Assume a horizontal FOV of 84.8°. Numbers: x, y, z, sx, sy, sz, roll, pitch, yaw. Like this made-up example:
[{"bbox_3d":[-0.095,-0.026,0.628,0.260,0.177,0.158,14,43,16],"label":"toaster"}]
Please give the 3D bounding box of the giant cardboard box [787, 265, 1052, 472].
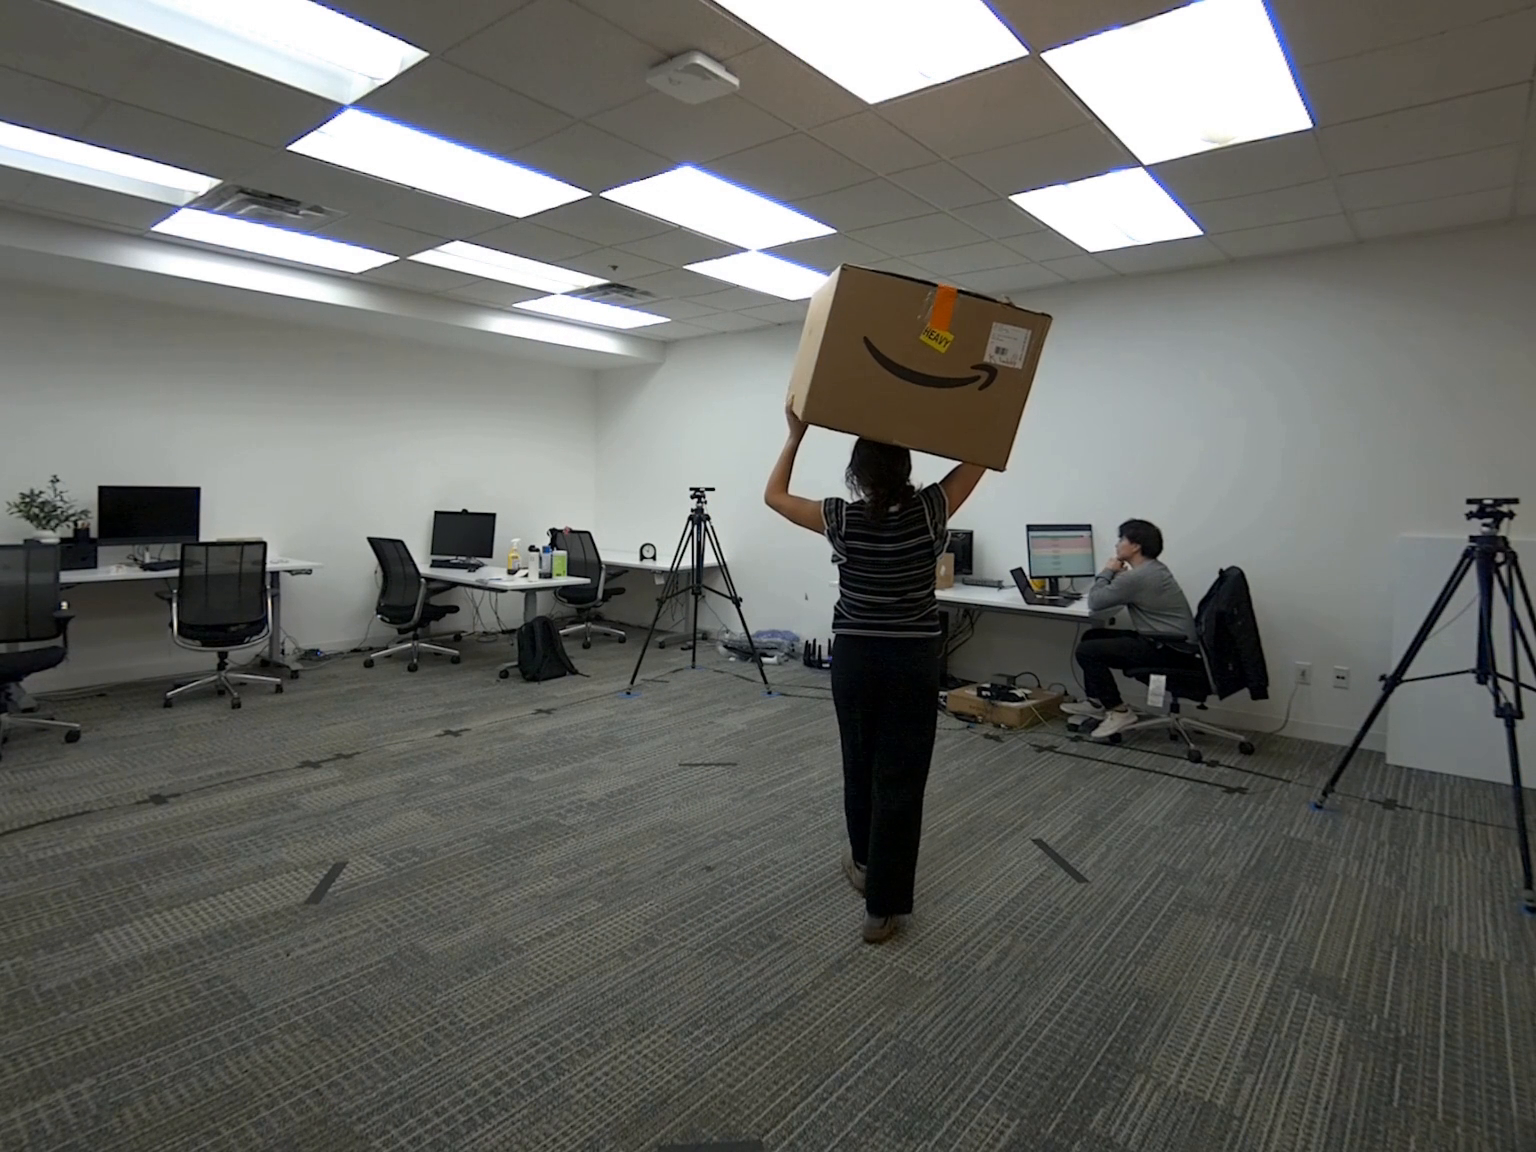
[{"bbox_3d":[0.397,-0.682,2.747,0.576,0.422,1.038,13,14,-4],"label":"giant cardboard box"}]
